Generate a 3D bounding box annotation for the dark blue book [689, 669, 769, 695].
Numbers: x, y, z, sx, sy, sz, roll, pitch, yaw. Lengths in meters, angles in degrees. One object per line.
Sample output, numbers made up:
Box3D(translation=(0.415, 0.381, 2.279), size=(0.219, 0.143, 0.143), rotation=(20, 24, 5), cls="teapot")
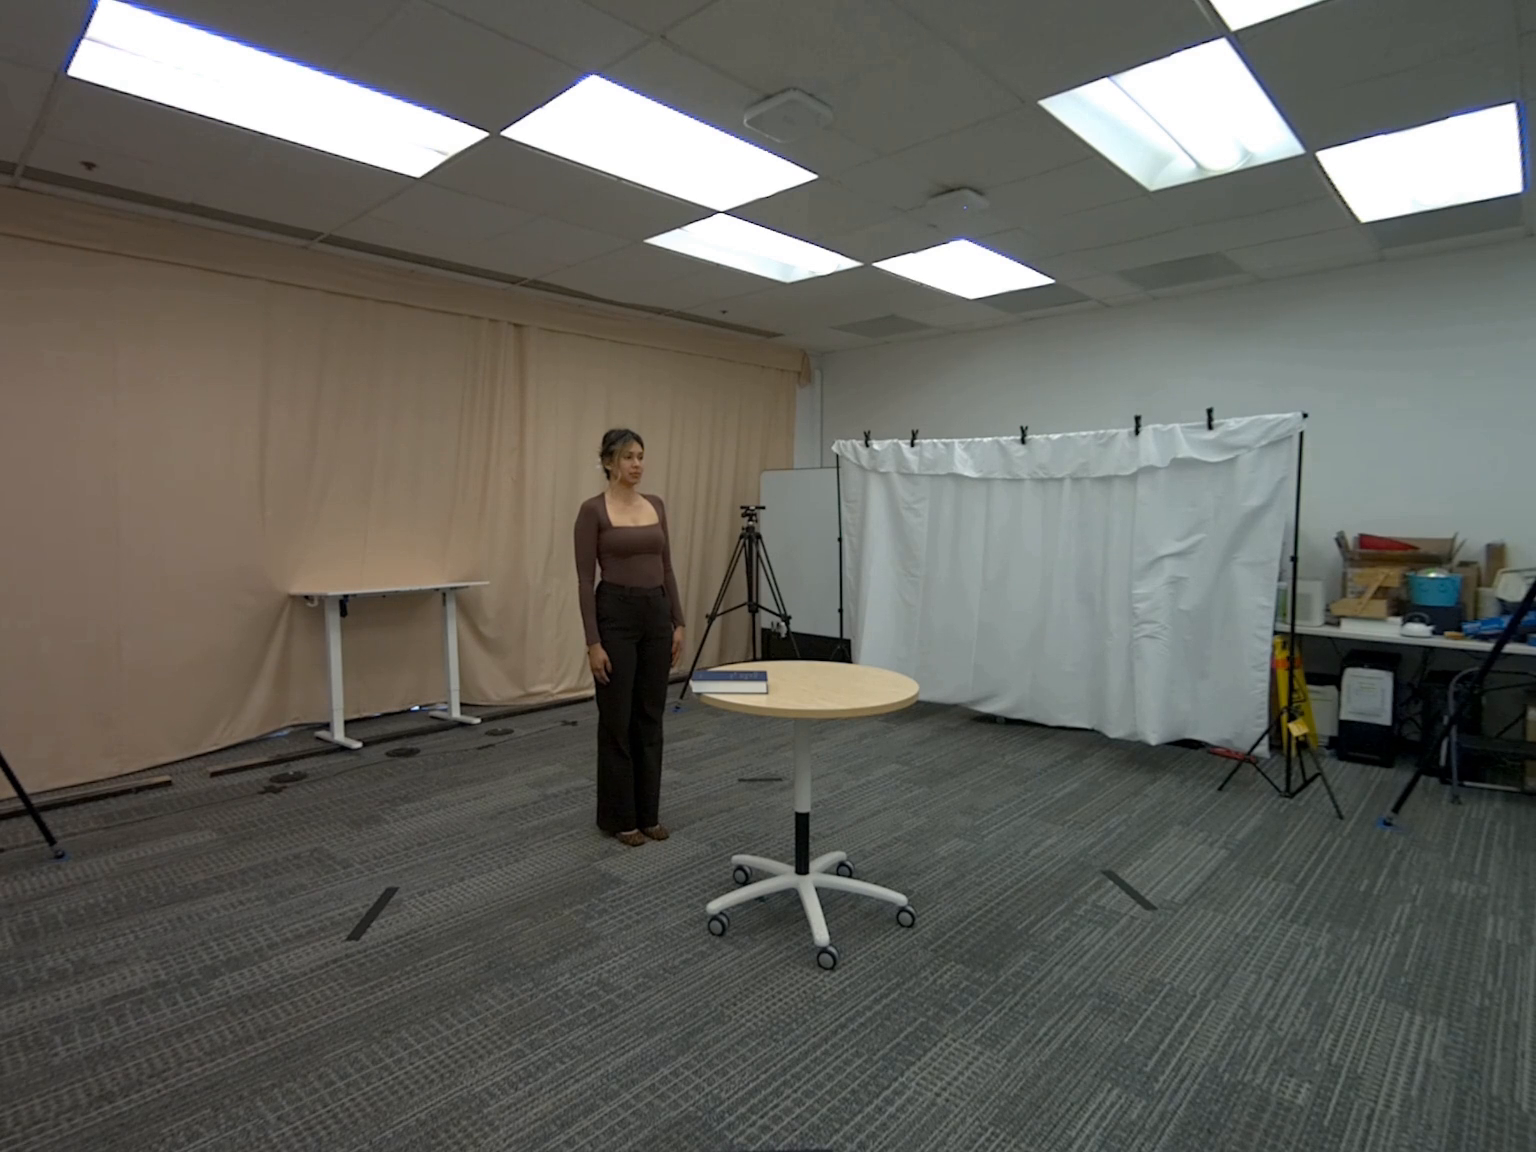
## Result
Box3D(translation=(-0.112, 0.346, 2.734), size=(0.245, 0.045, 0.163), rotation=(0, 5, 1), cls="dark blue book")
